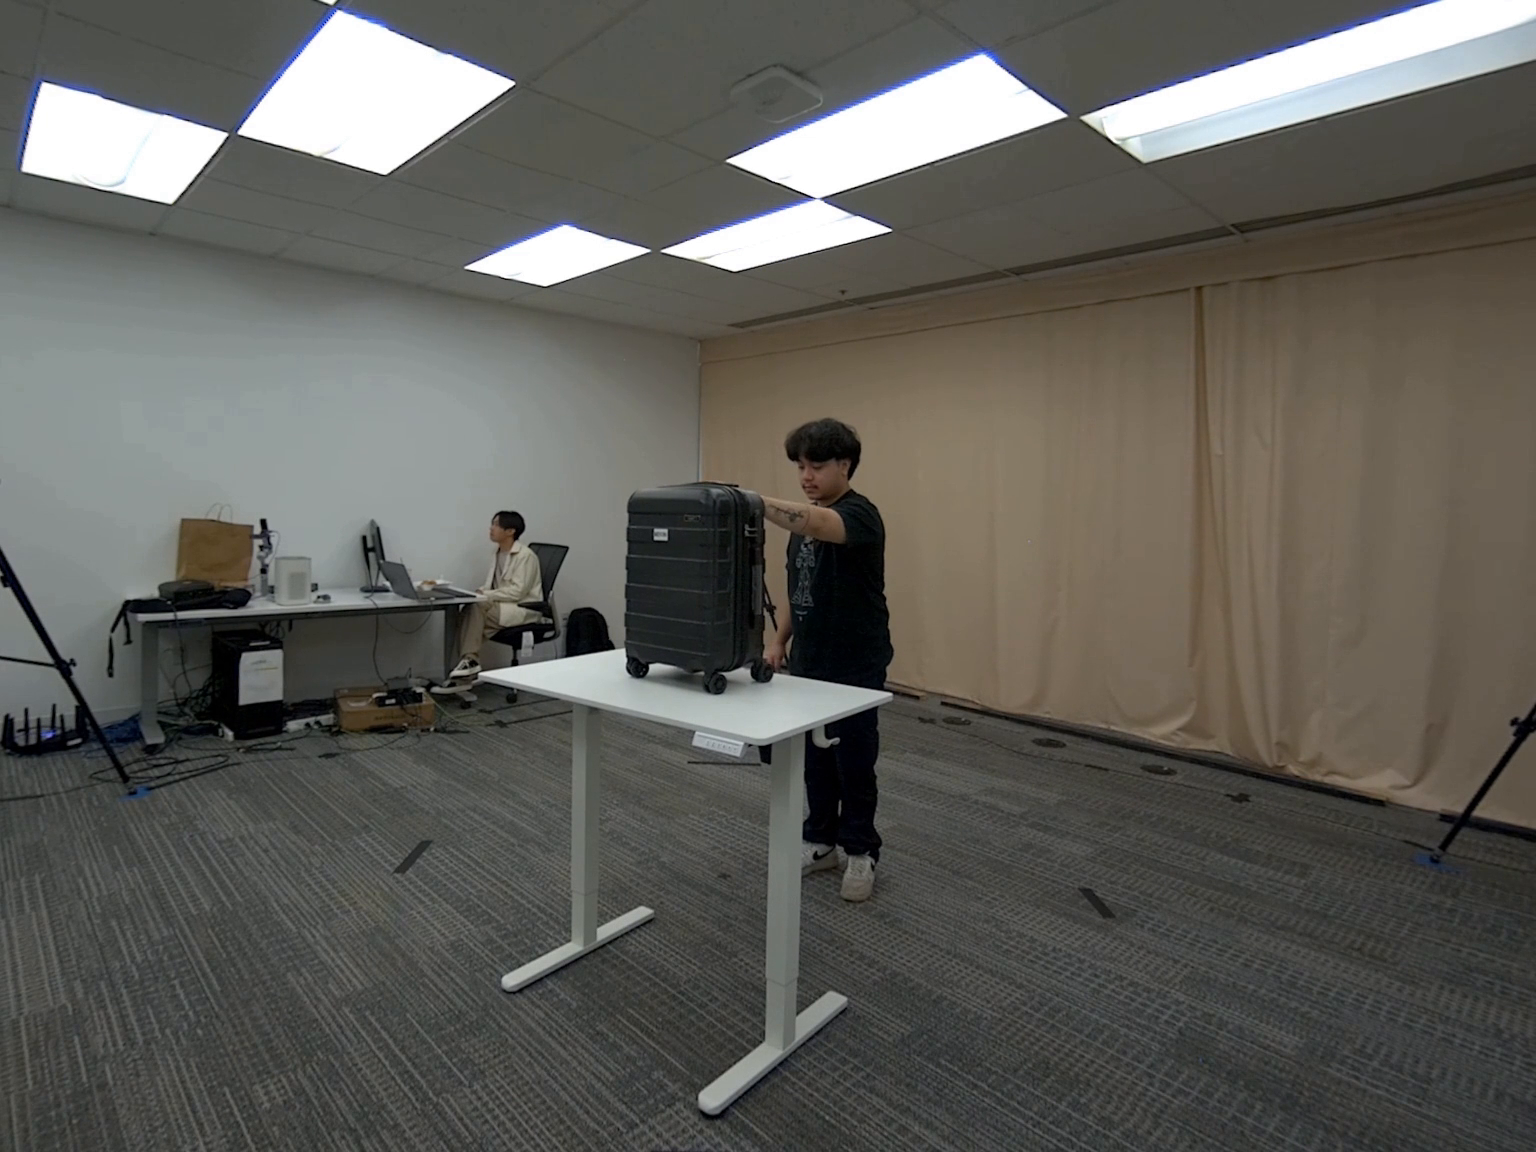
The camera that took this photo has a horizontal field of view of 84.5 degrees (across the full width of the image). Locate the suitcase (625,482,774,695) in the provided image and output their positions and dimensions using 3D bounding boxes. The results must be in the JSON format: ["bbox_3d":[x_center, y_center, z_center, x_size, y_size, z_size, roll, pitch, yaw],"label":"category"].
[{"bbox_3d":[-0.207,0.019,2.338,0.384,0.548,0.243,3,5,39],"label":"suitcase"}]
